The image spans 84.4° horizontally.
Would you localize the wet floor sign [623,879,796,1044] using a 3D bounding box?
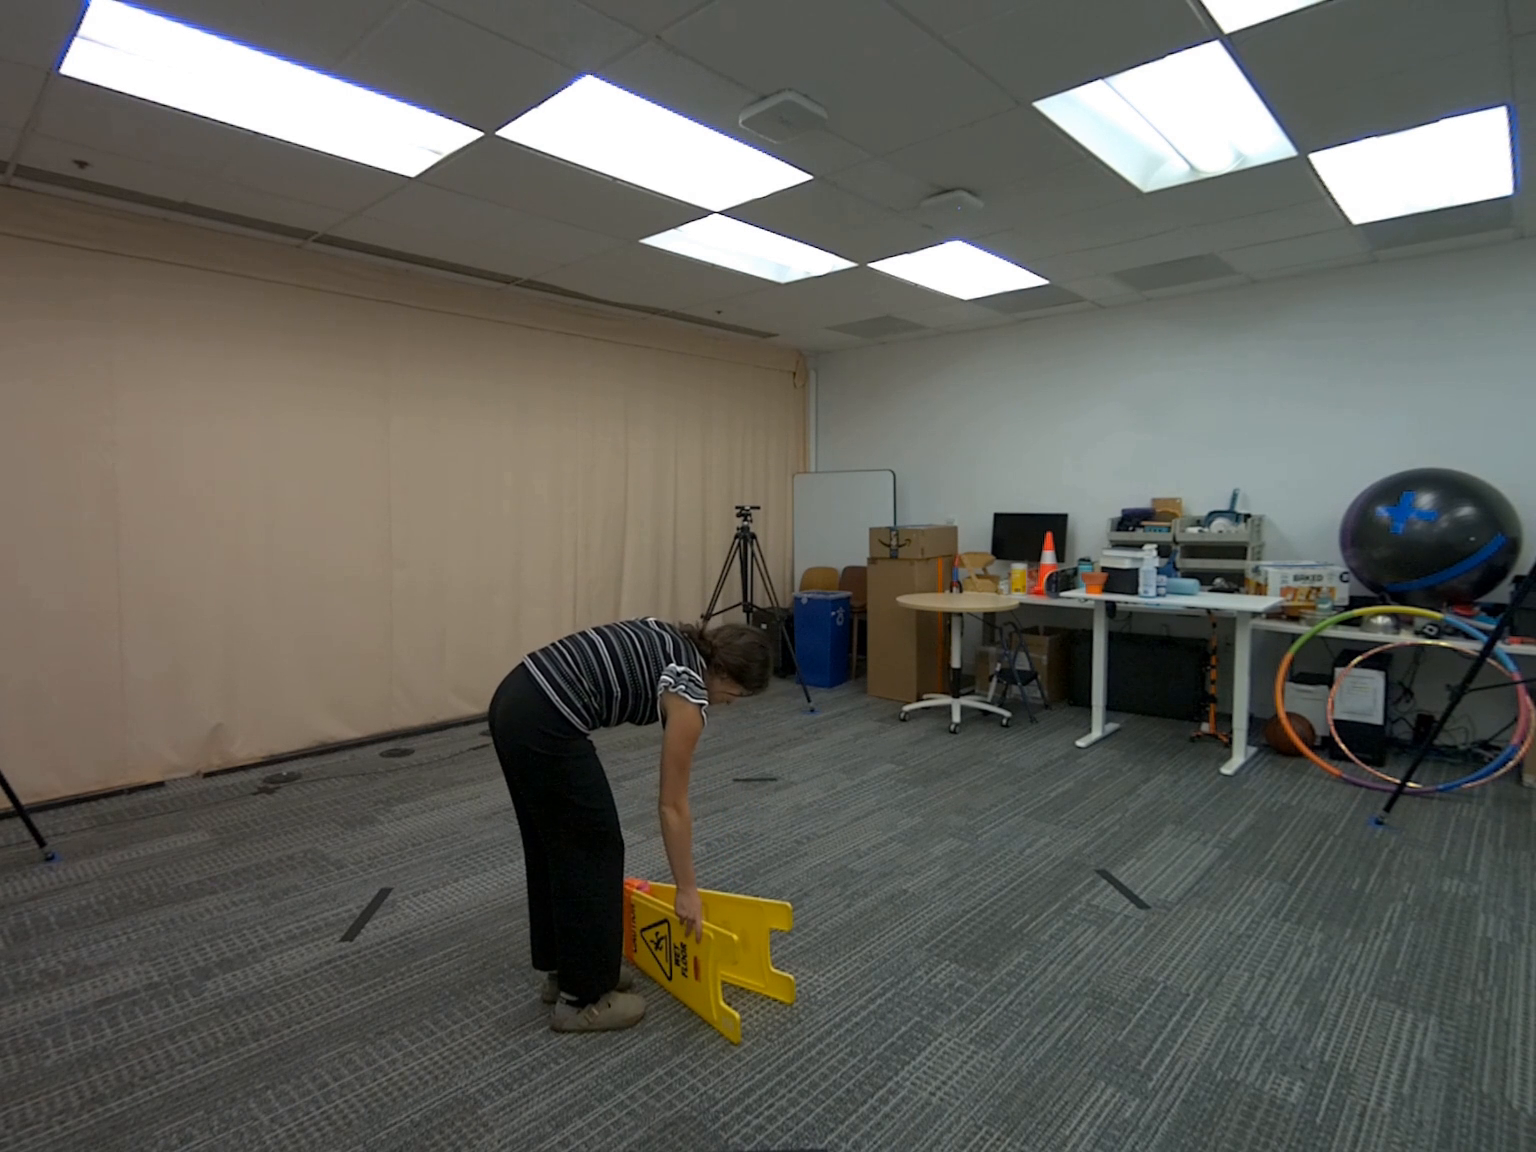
[{"bbox_3d":[-0.262,1.065,2.470,0.667,0.282,0.281,0,3,40],"label":"wet floor sign"}]
